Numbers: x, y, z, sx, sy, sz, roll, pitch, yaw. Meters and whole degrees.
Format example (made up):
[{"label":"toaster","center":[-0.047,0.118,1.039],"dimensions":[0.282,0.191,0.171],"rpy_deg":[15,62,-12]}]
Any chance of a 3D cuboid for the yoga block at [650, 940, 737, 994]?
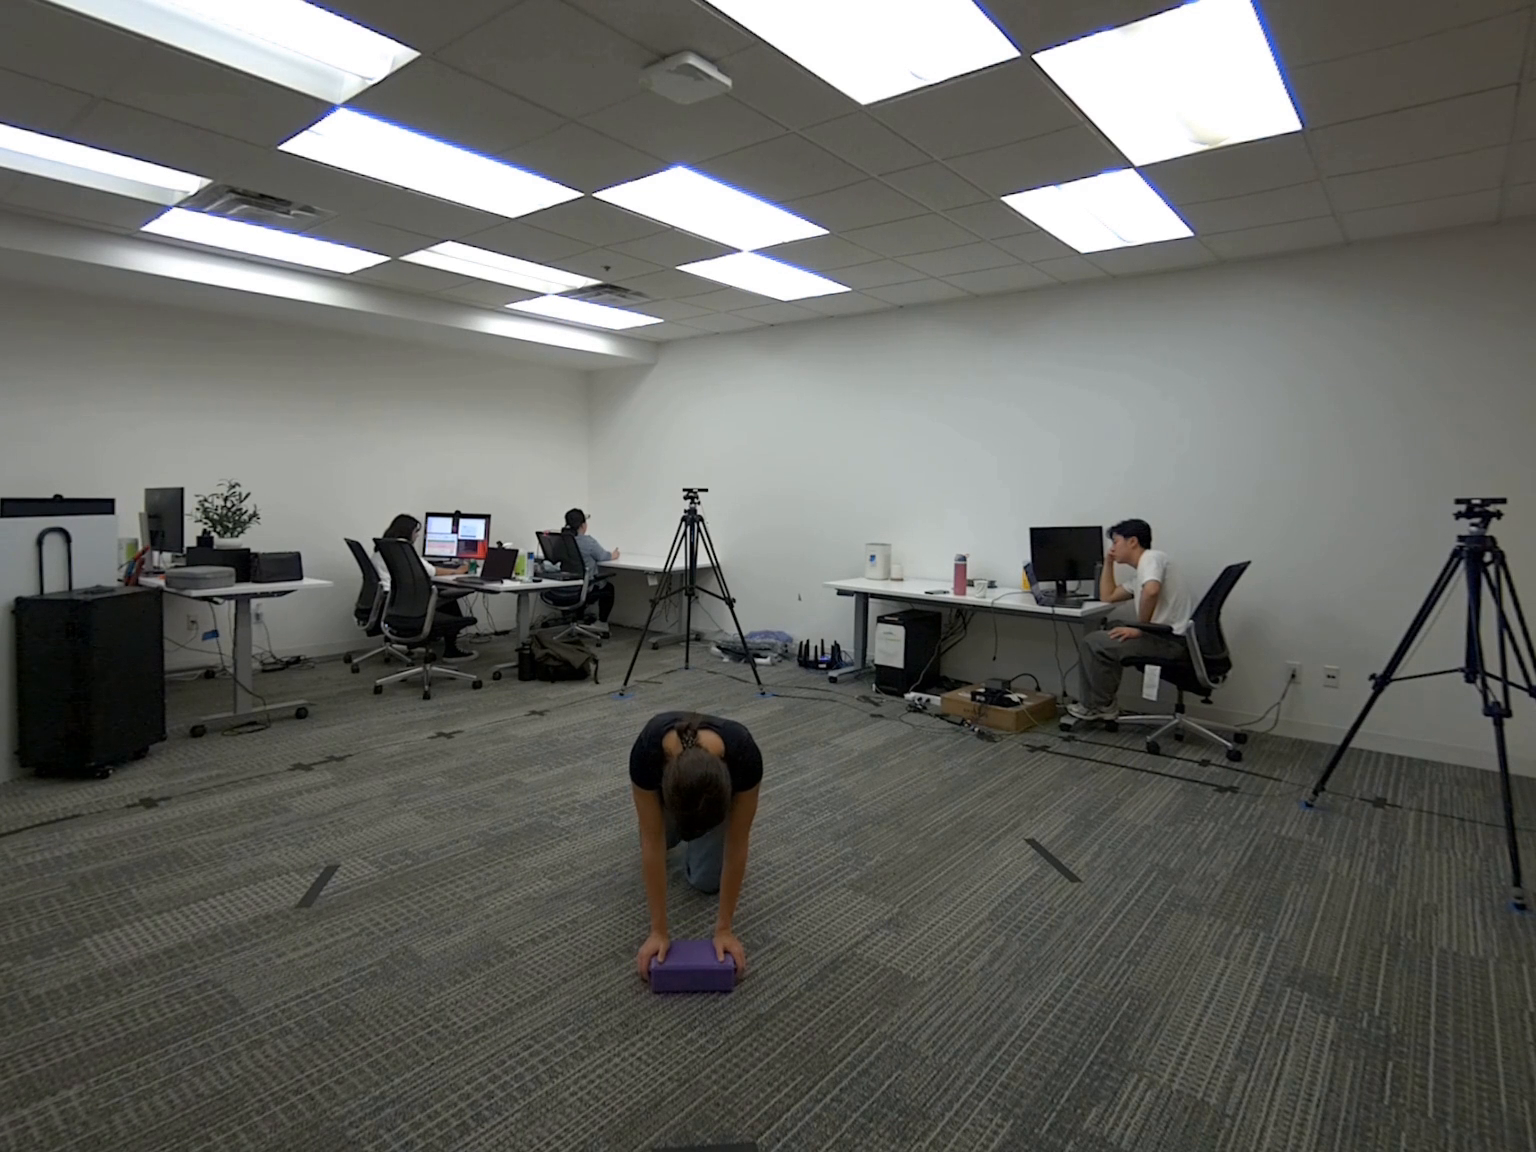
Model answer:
[{"label":"yoga block","center":[-0.214,1.098,2.412],"dimensions":[0.228,0.076,0.150],"rpy_deg":[1,4,-4]}]
